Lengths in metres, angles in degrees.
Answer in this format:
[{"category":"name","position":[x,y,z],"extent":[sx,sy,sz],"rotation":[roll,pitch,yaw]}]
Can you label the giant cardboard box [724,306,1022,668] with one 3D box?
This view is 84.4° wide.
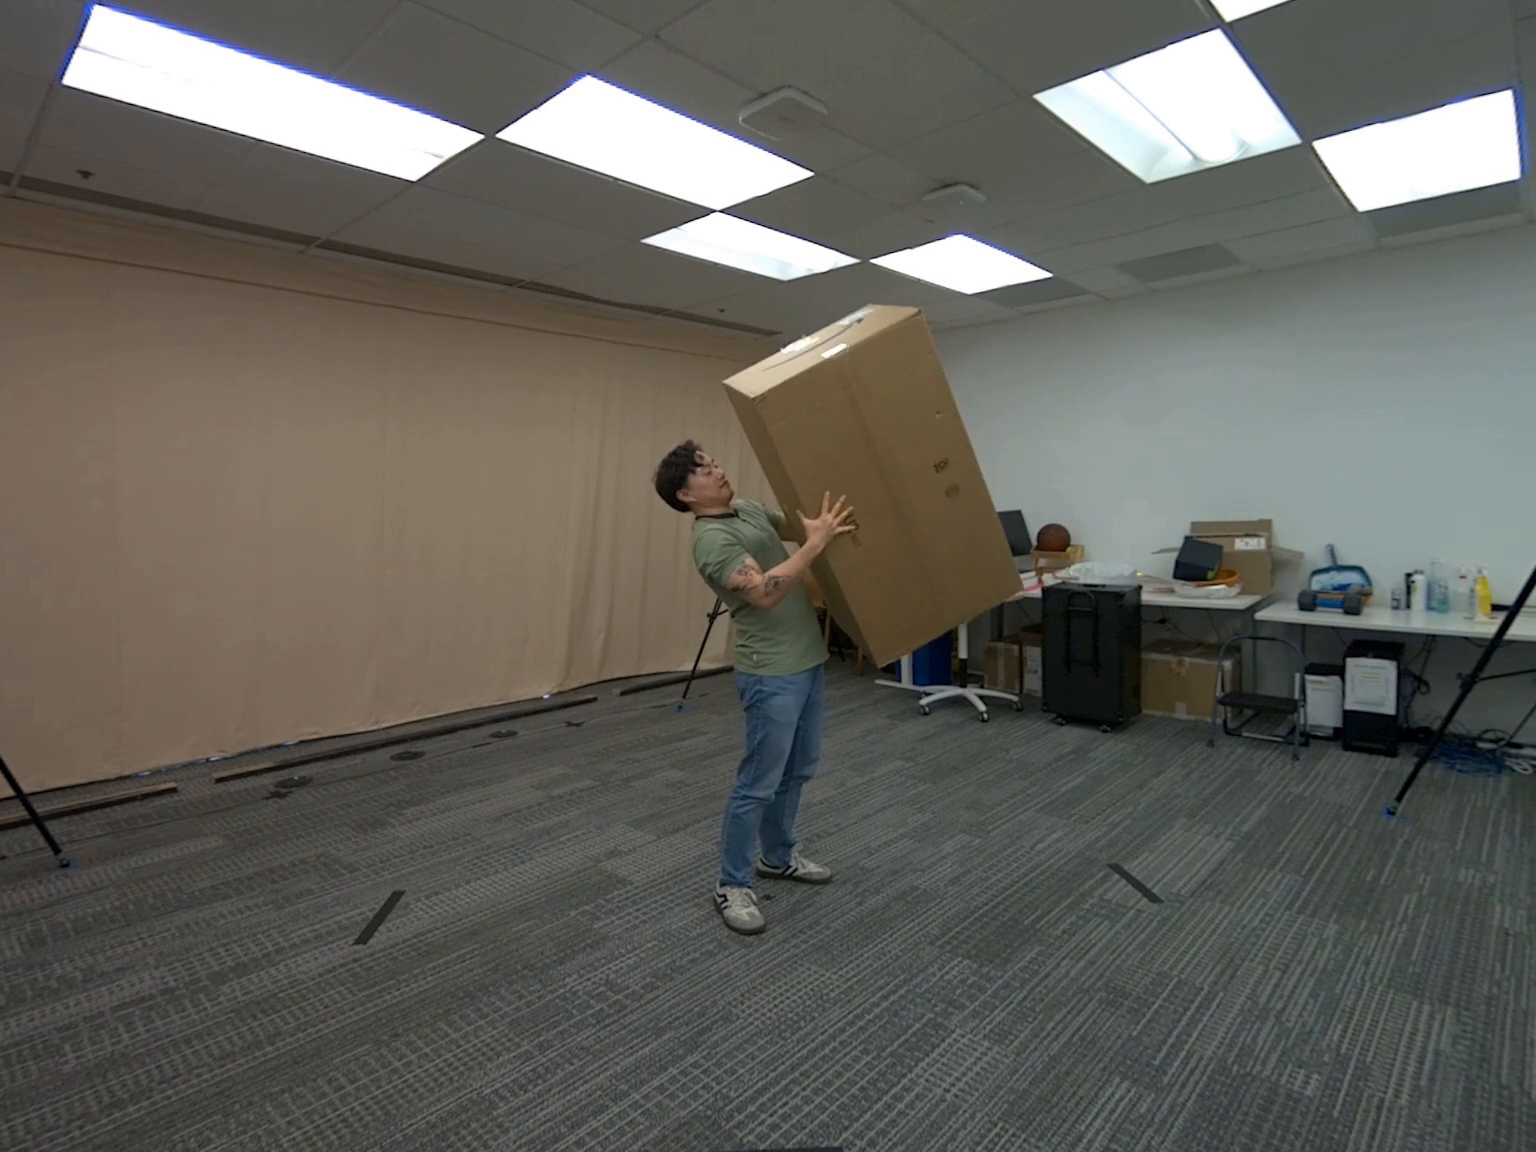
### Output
[{"category":"giant cardboard box","position":[0.351,-0.298,2.846],"extent":[0.576,1.004,0.436],"rotation":[-28,22,-5]}]
